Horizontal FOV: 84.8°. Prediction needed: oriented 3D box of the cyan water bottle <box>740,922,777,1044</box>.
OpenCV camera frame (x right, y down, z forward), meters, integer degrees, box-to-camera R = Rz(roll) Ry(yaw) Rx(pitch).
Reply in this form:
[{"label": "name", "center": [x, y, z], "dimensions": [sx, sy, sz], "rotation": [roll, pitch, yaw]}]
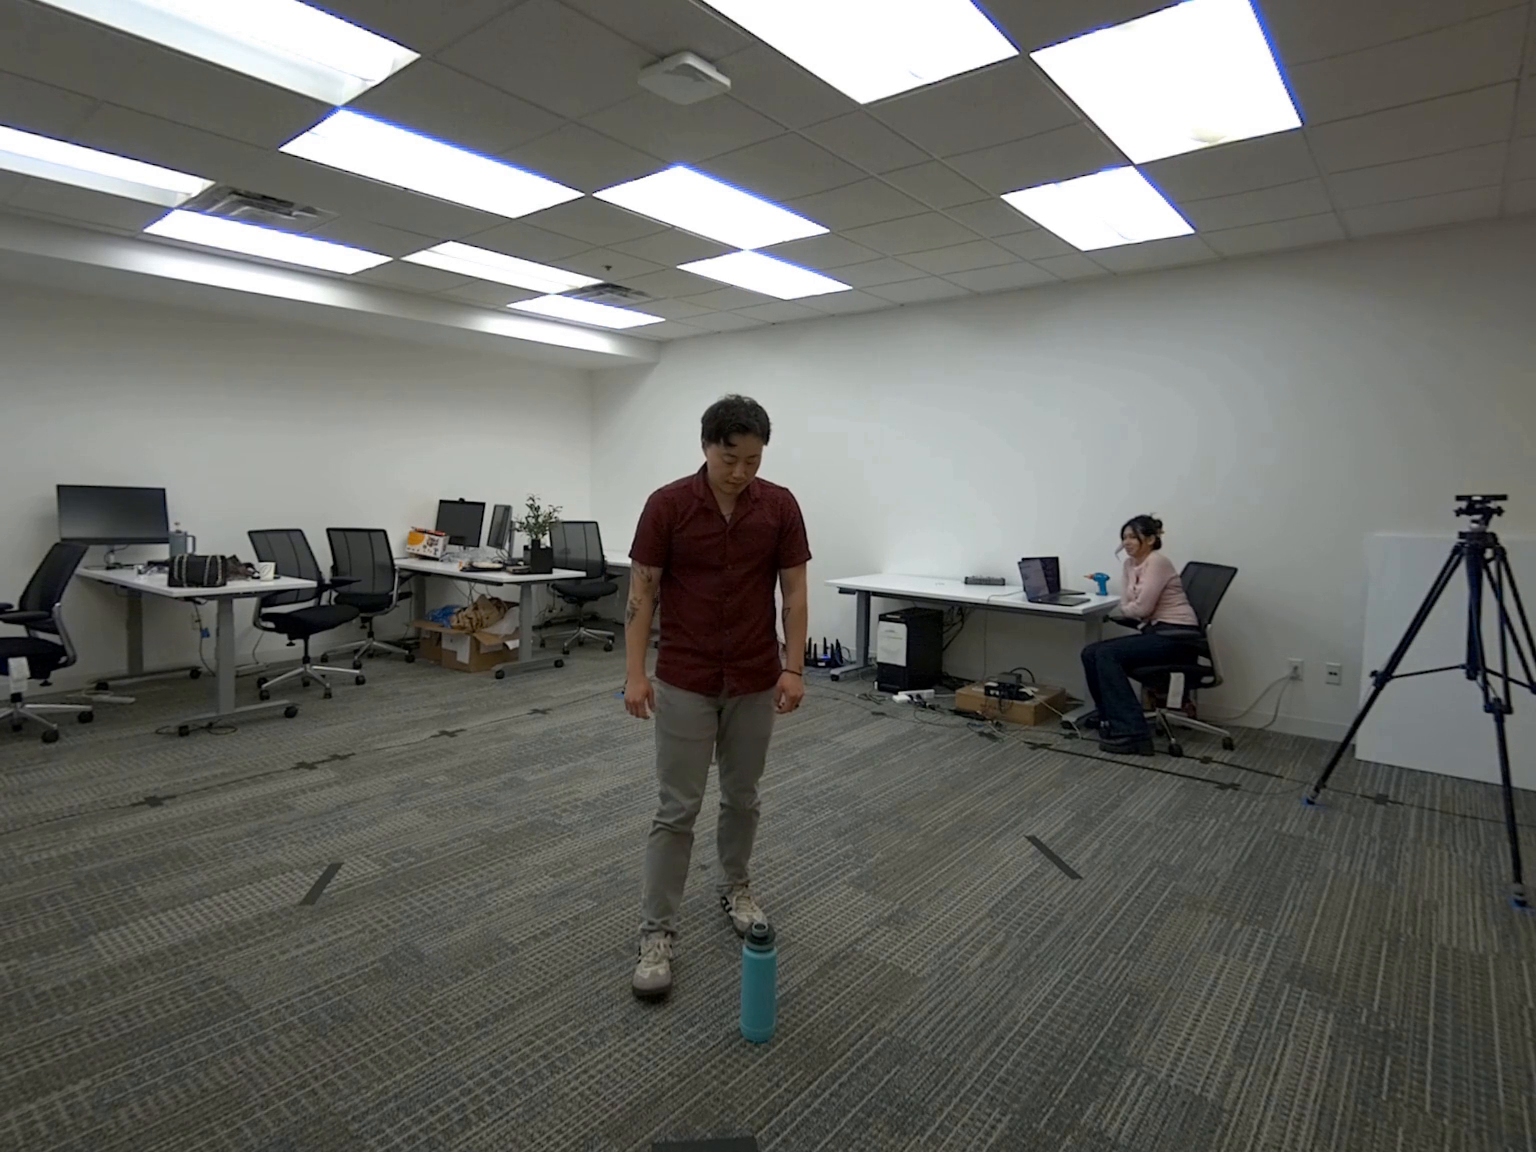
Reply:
[{"label": "cyan water bottle", "center": [-0.027, 1.024, 2.176], "dimensions": [0.092, 0.283, 0.092], "rotation": [1, 2, -2]}]
